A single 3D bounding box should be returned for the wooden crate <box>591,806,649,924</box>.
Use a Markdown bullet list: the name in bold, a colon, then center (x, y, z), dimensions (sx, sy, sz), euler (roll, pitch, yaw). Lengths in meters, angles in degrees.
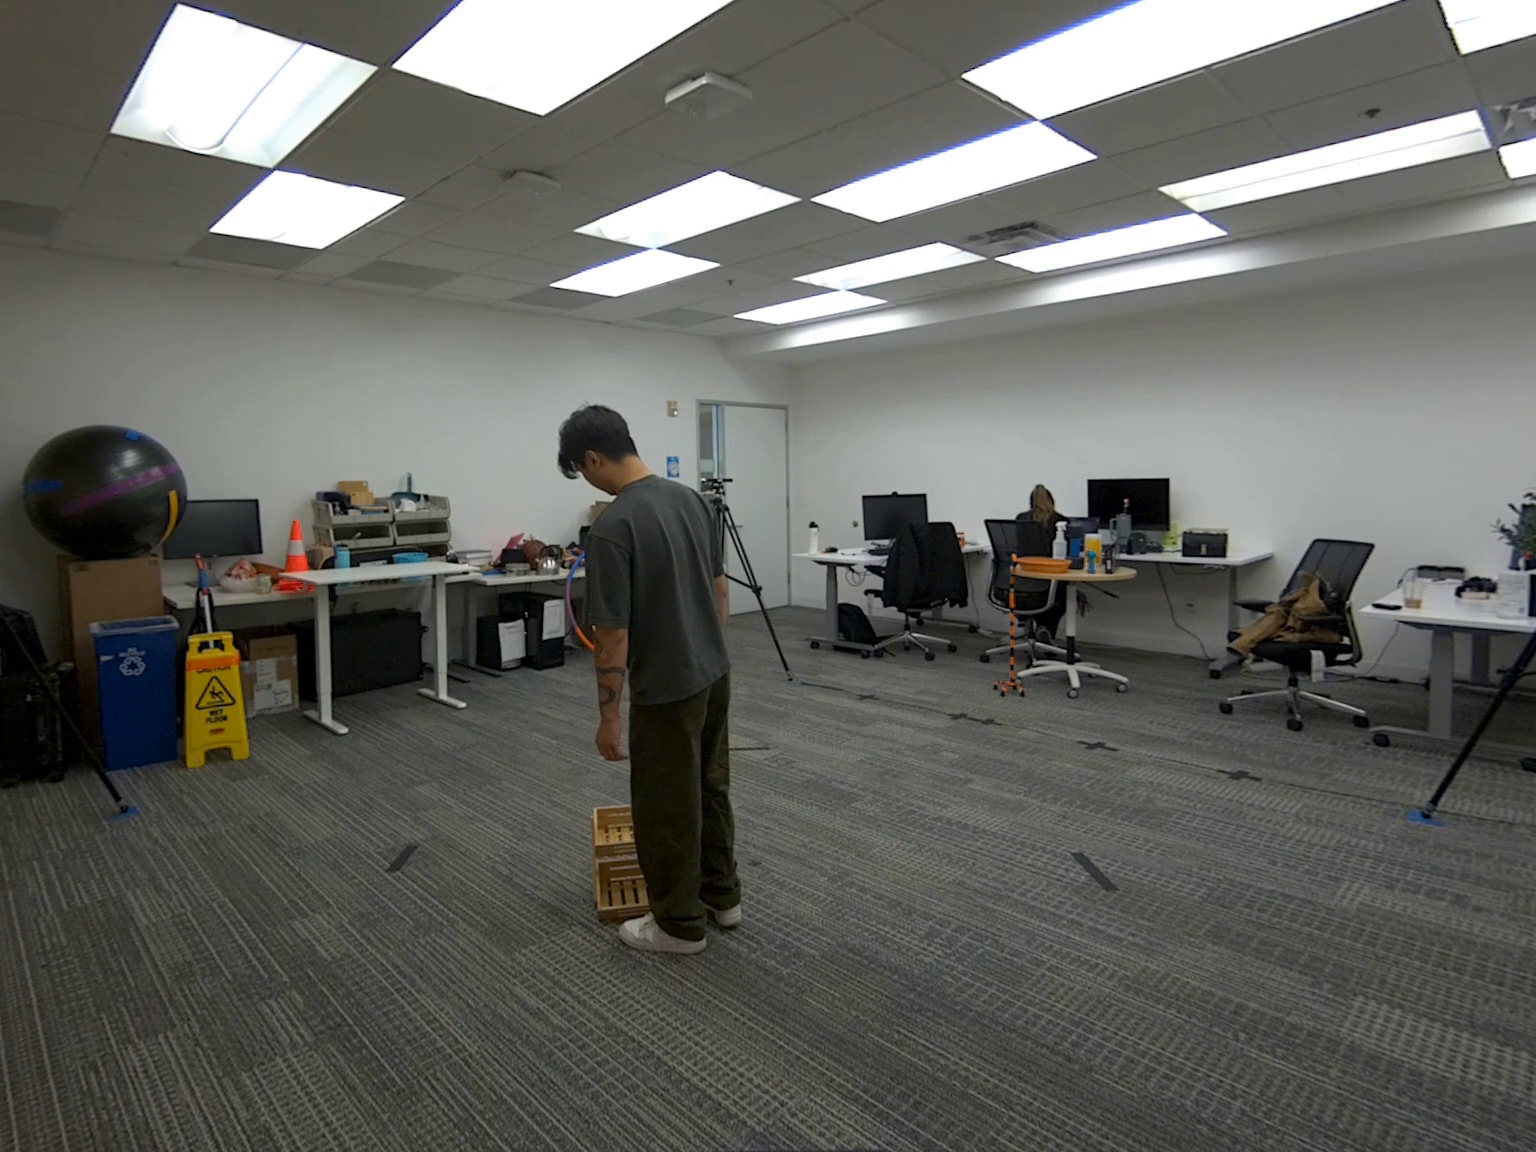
- **wooden crate**: center (-0.422, 0.944, 2.862), dimensions (0.321, 0.272, 0.306), euler (-2, 5, -11)
